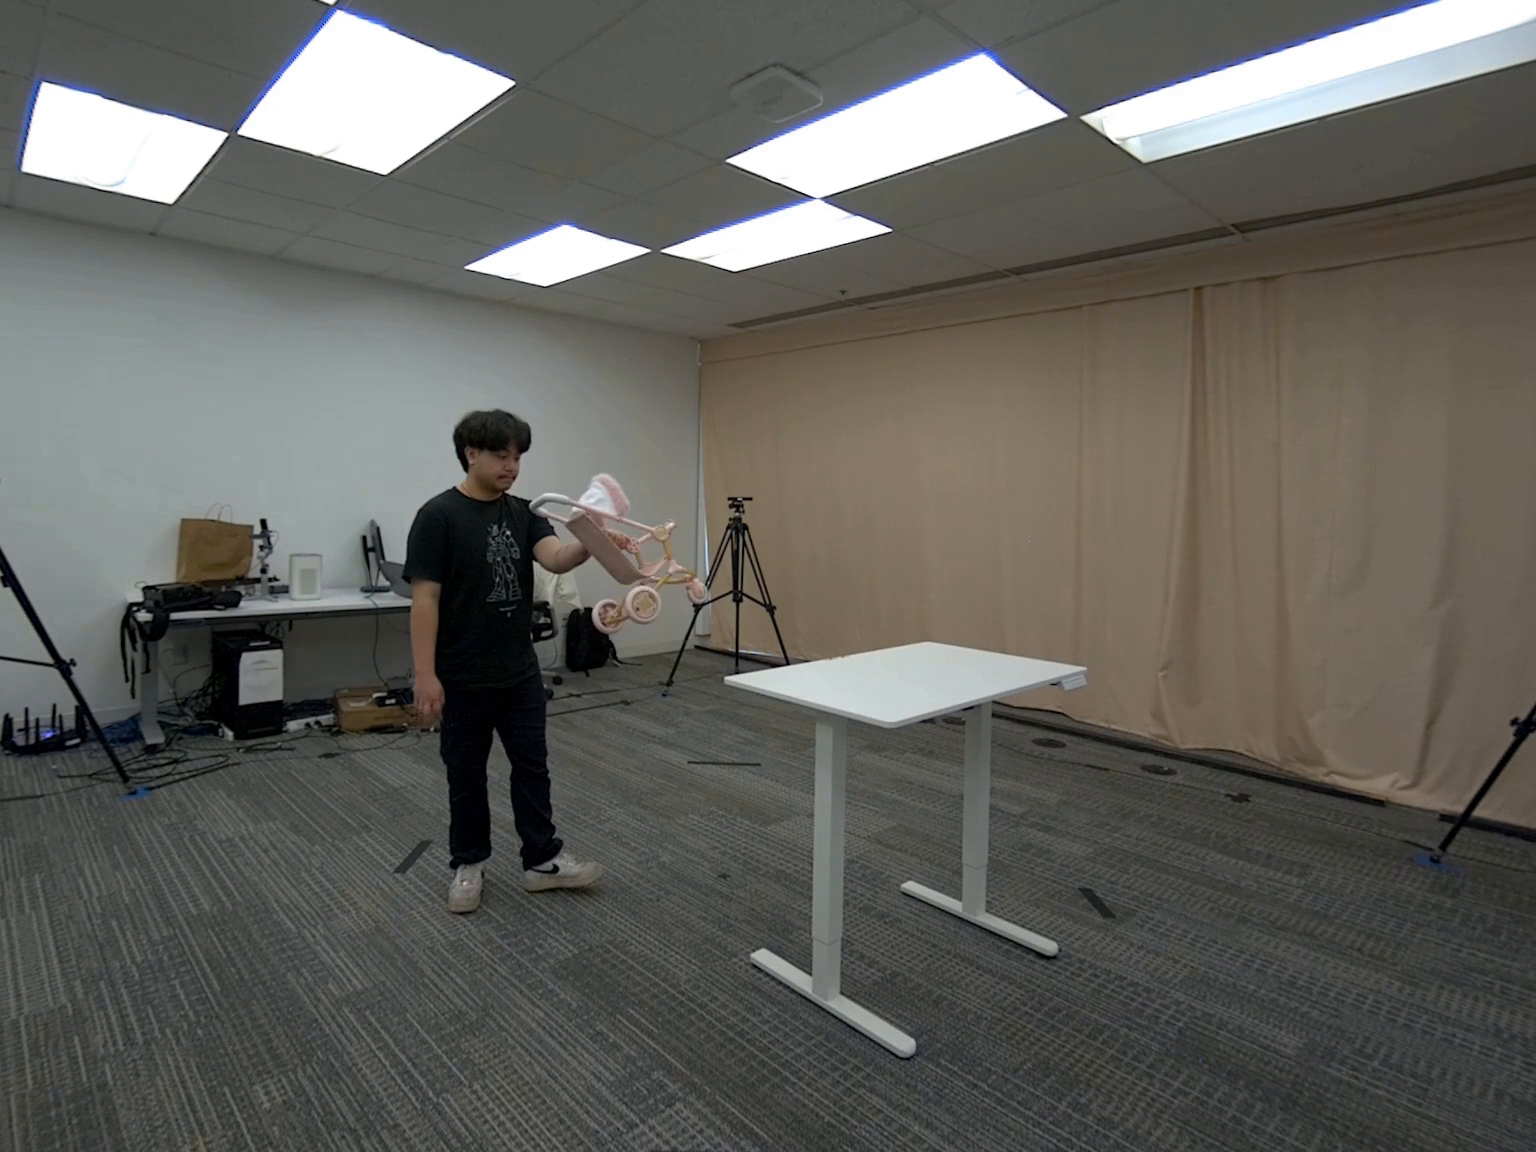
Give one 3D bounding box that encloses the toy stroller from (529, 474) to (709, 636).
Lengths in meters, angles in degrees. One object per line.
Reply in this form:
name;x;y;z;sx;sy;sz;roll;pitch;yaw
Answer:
toy stroller;-0.432;-0.077;2.548;0.339;0.531;0.285;-34;7;-29
